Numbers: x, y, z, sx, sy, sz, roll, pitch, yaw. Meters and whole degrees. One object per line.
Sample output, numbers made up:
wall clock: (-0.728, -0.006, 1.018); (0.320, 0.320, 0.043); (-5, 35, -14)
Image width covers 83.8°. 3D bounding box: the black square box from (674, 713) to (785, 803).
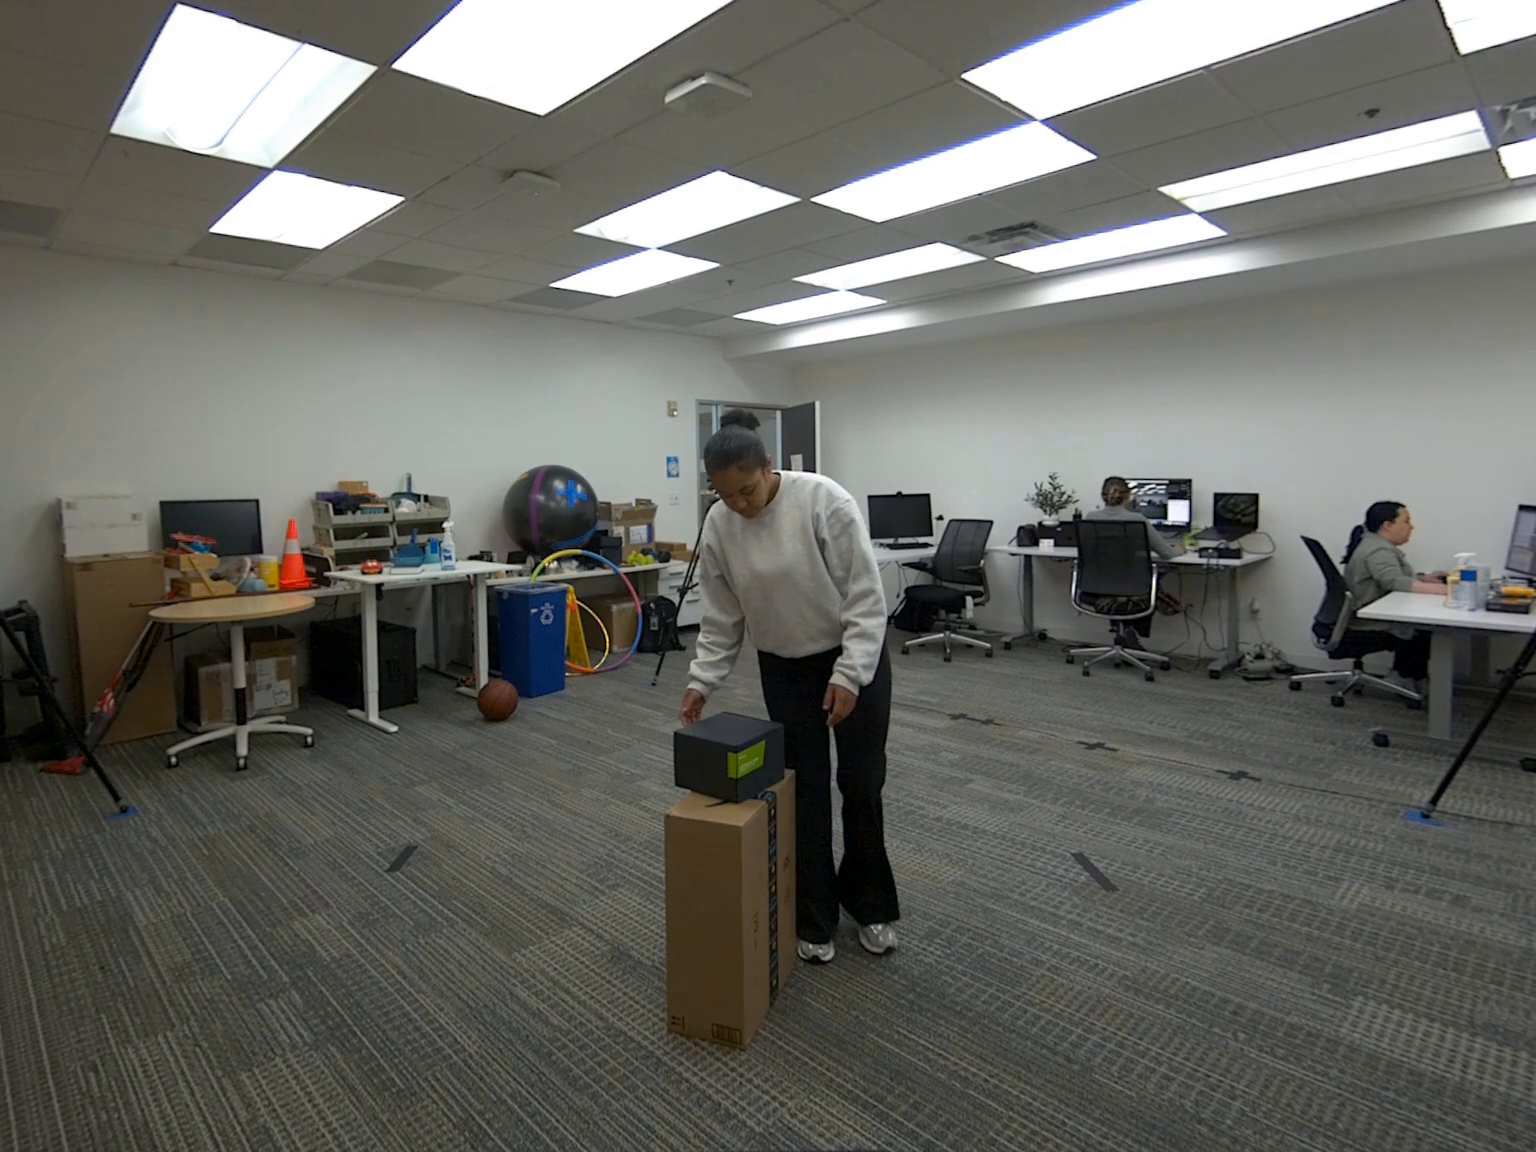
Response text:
black square box: (-0.097, 0.487, 2.349); (0.223, 0.155, 0.222); (4, 8, 34)
